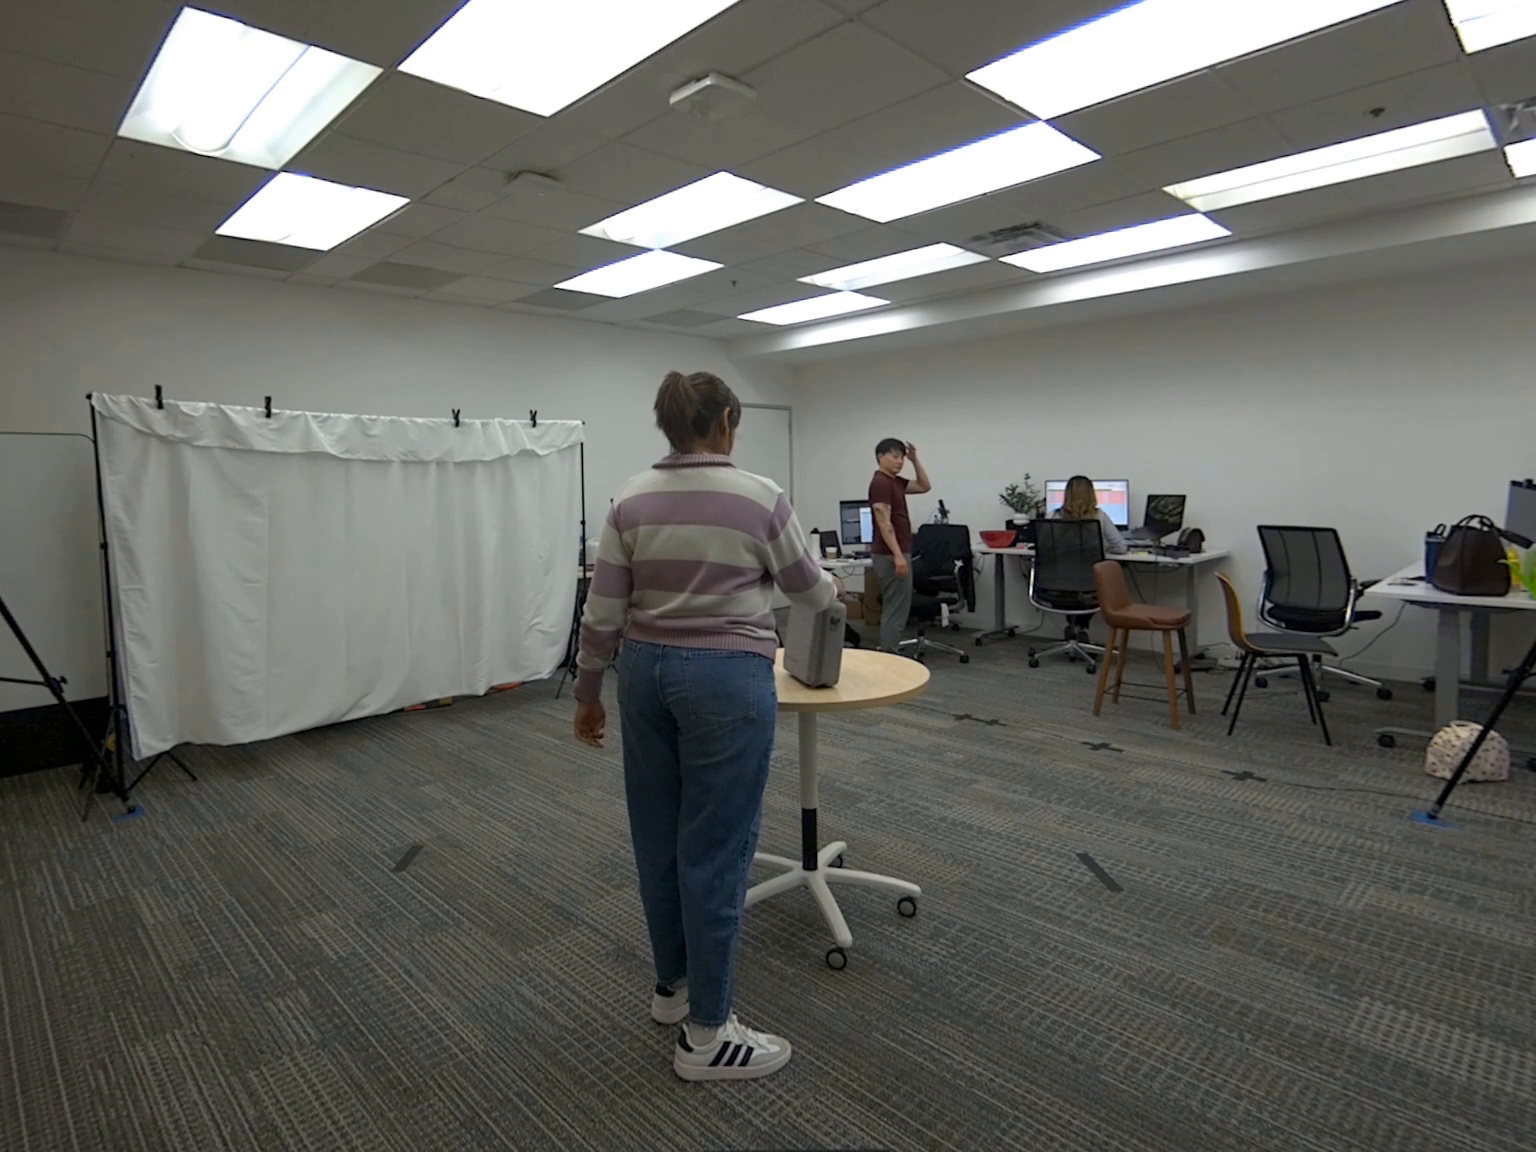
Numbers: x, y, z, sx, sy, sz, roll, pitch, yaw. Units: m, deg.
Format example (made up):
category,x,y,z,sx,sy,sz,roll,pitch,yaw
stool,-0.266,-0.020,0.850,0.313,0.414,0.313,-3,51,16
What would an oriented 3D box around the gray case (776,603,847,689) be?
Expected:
category,x,y,z,sx,sy,sz,roll,pitch,yaw
gray case,0.142,0.189,2.592,0.103,0.260,0.261,2,4,-15
